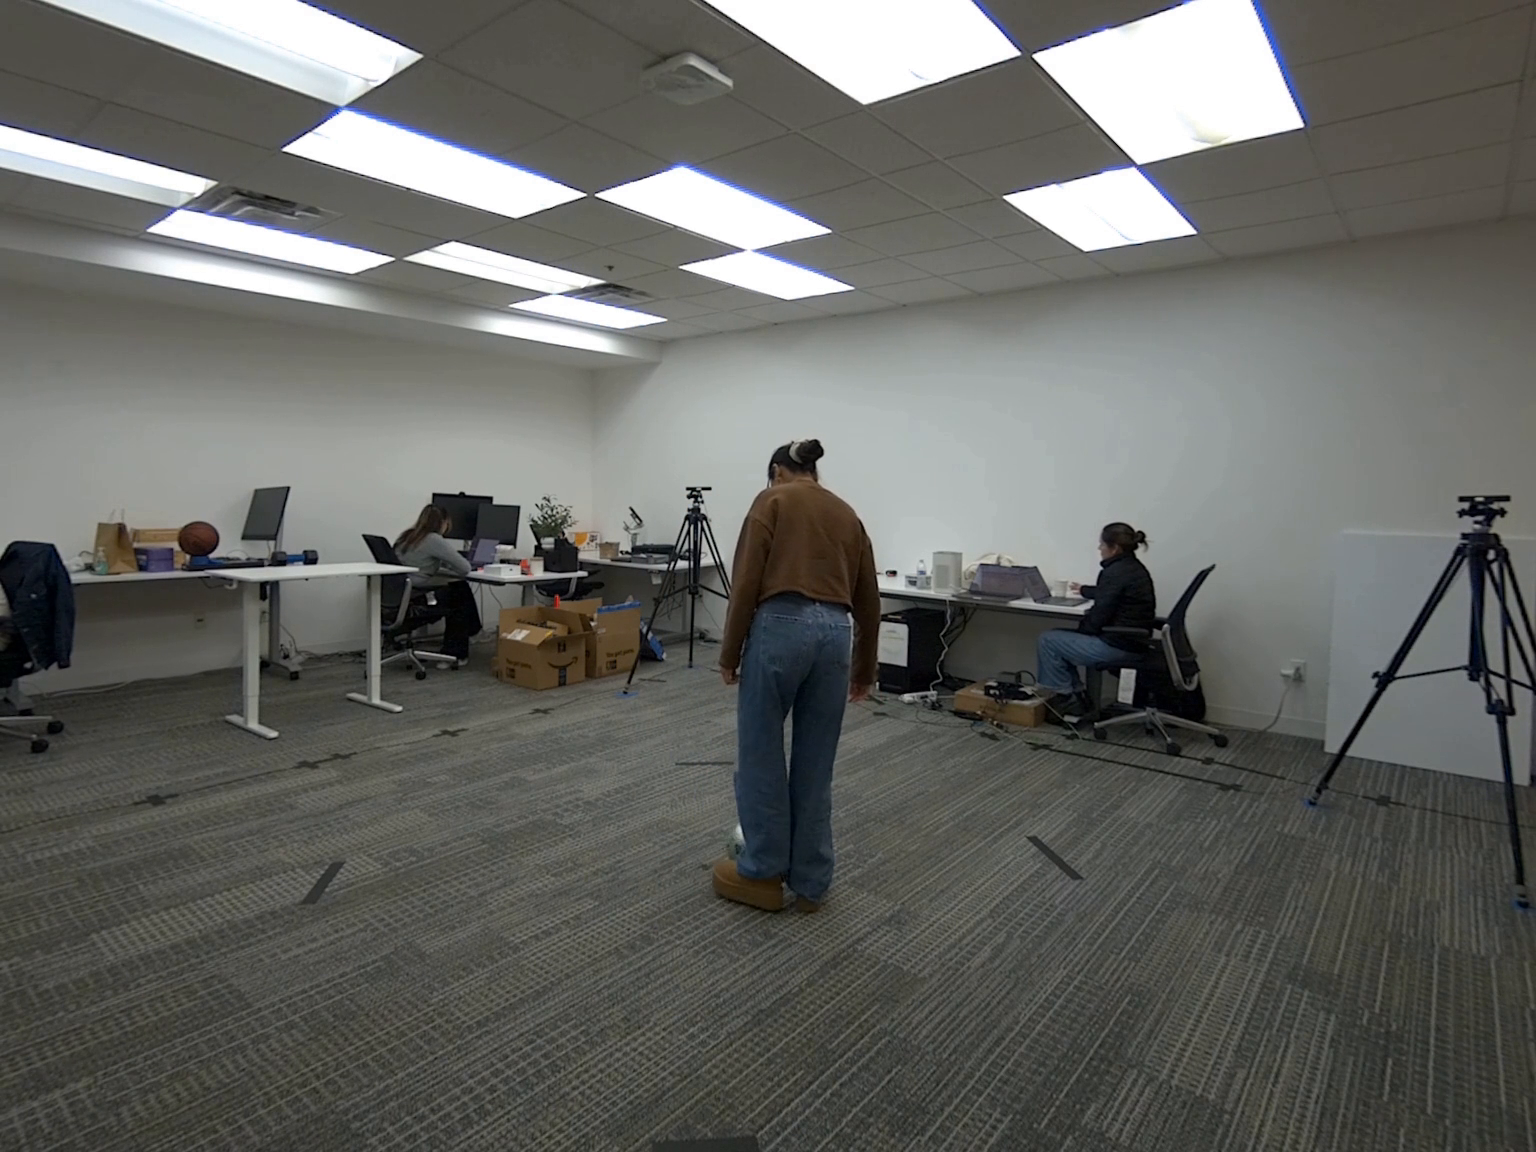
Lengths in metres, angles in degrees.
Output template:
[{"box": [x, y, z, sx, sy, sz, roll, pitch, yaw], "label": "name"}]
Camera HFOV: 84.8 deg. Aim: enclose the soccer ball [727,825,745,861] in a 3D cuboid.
[{"box": [-0.063, 0.970, 3.087, 0.187, 0.187, 0.188, 1, 4, -2], "label": "soccer ball"}]
